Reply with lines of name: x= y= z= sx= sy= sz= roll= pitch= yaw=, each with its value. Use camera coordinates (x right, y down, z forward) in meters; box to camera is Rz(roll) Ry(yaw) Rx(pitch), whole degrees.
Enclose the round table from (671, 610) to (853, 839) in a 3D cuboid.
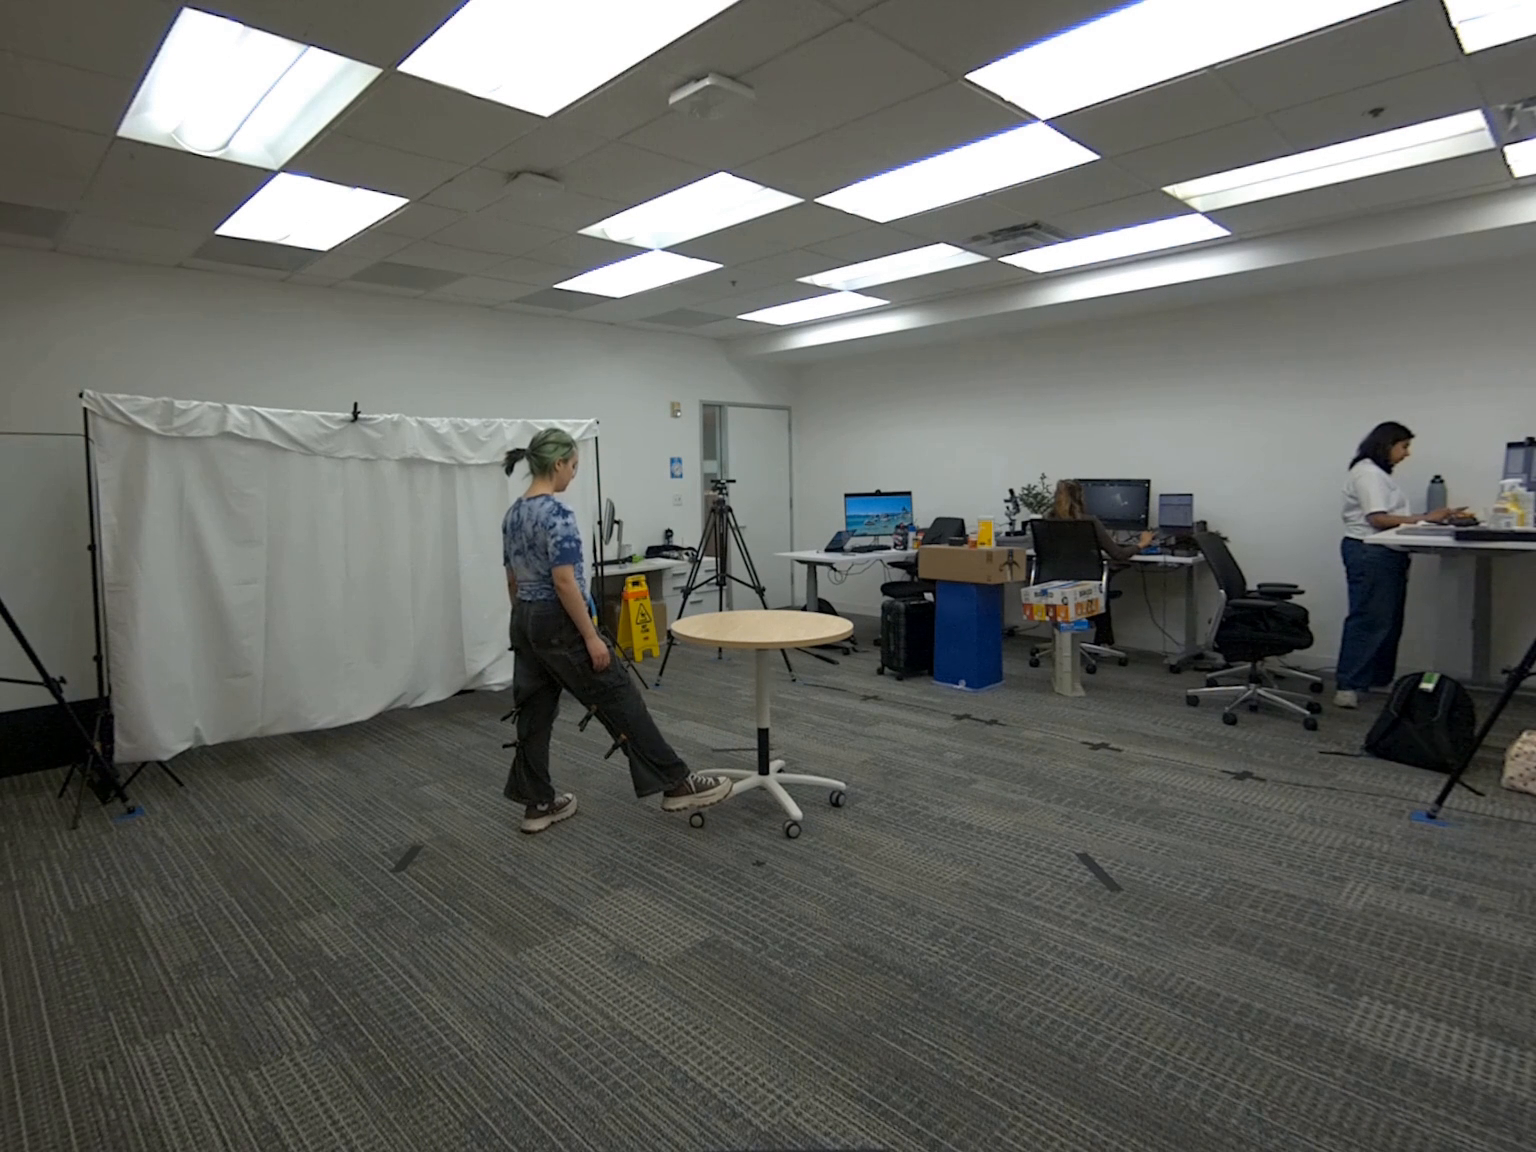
round table: x=-0.026 y=0.595 z=3.622 sx=0.763 sy=0.791 sz=0.768 roll=-1 pitch=5 yaw=-2
